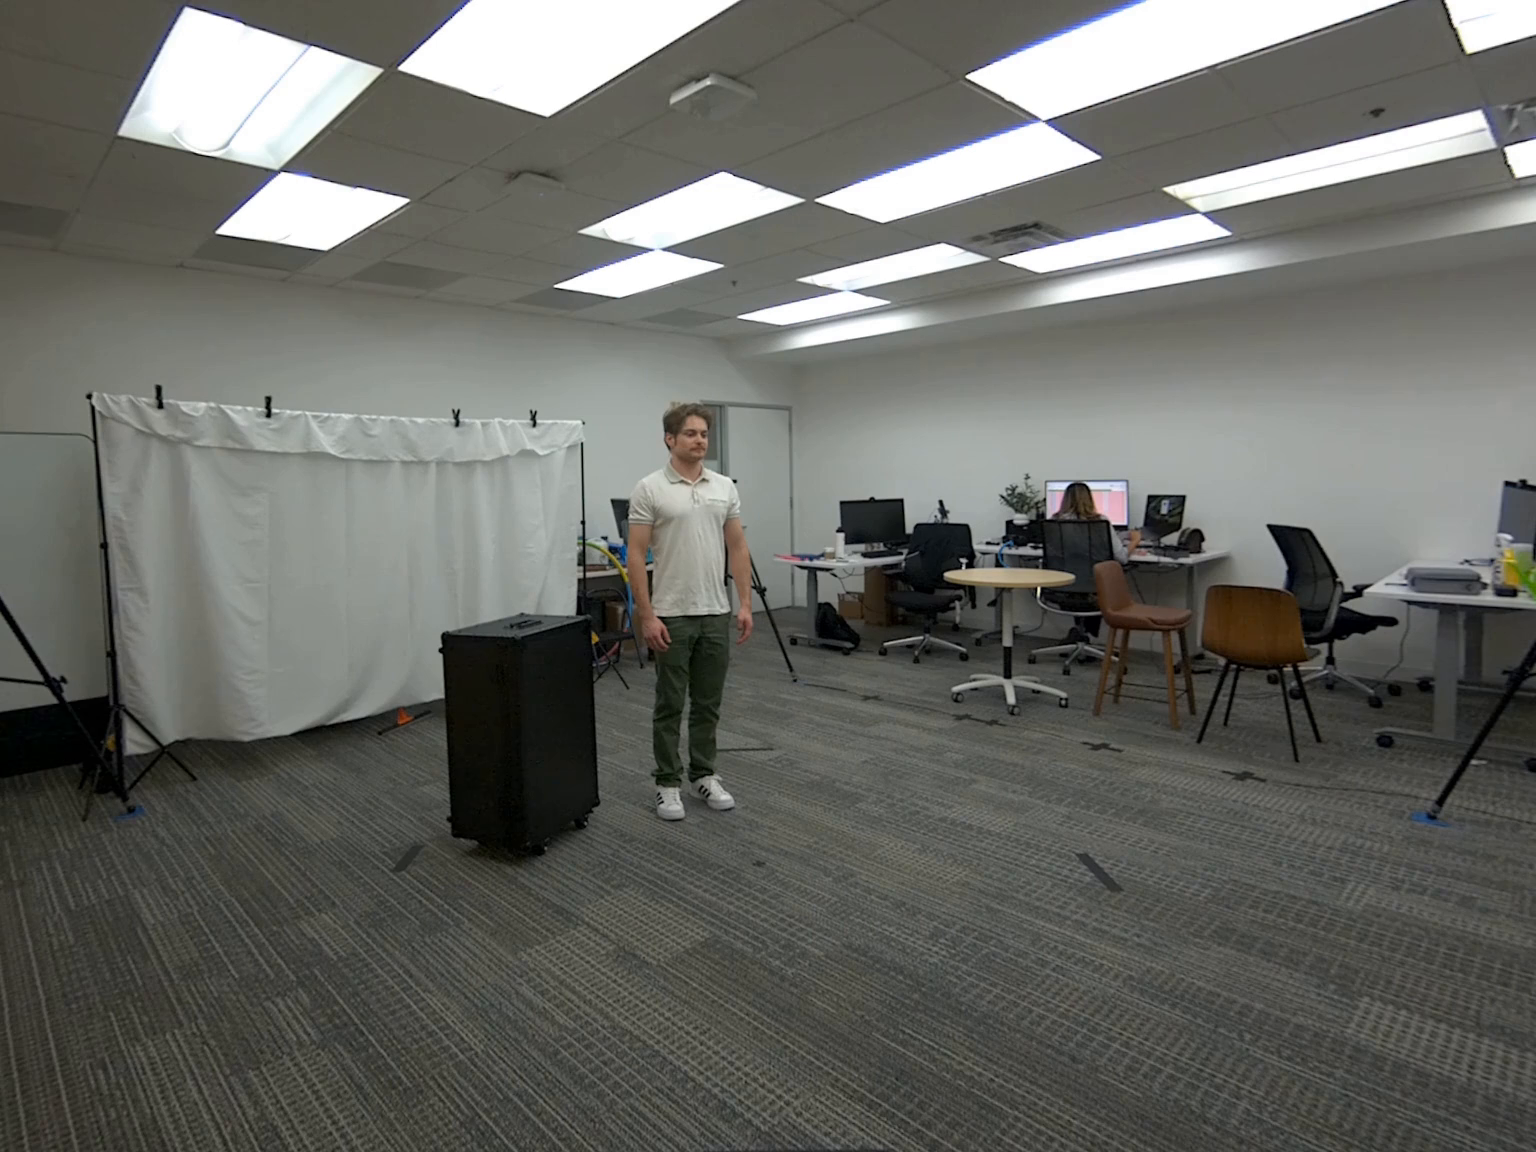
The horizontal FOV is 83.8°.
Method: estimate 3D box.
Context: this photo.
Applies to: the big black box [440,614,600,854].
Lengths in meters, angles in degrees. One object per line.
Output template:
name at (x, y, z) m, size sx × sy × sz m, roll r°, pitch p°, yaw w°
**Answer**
big black box at (-0.962, 0.613, 3.358) m, size 0.394 × 0.866 × 0.514 m, roll 1°, pitch 4°, yaw 23°
